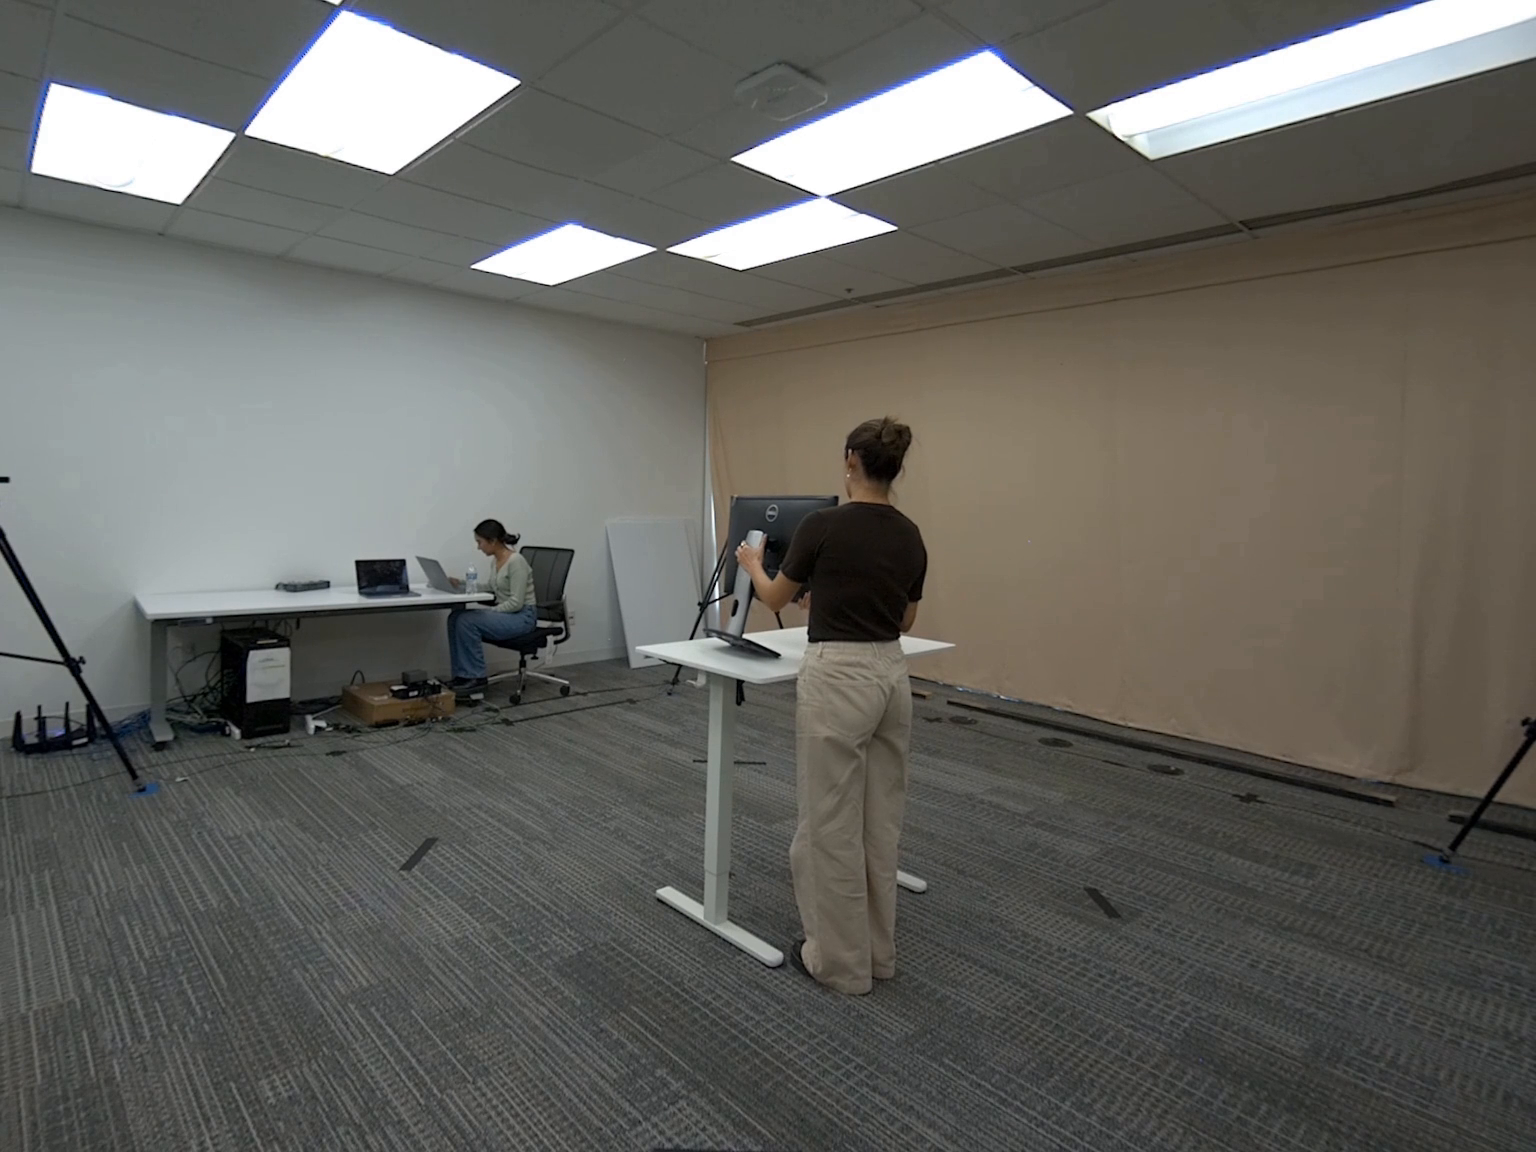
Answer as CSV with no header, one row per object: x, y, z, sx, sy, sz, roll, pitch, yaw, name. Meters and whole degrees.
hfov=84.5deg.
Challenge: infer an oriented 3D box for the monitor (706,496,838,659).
-0.022,-0.015,2.786,0.182,0.525,0.552,21,-10,-39,monitor
